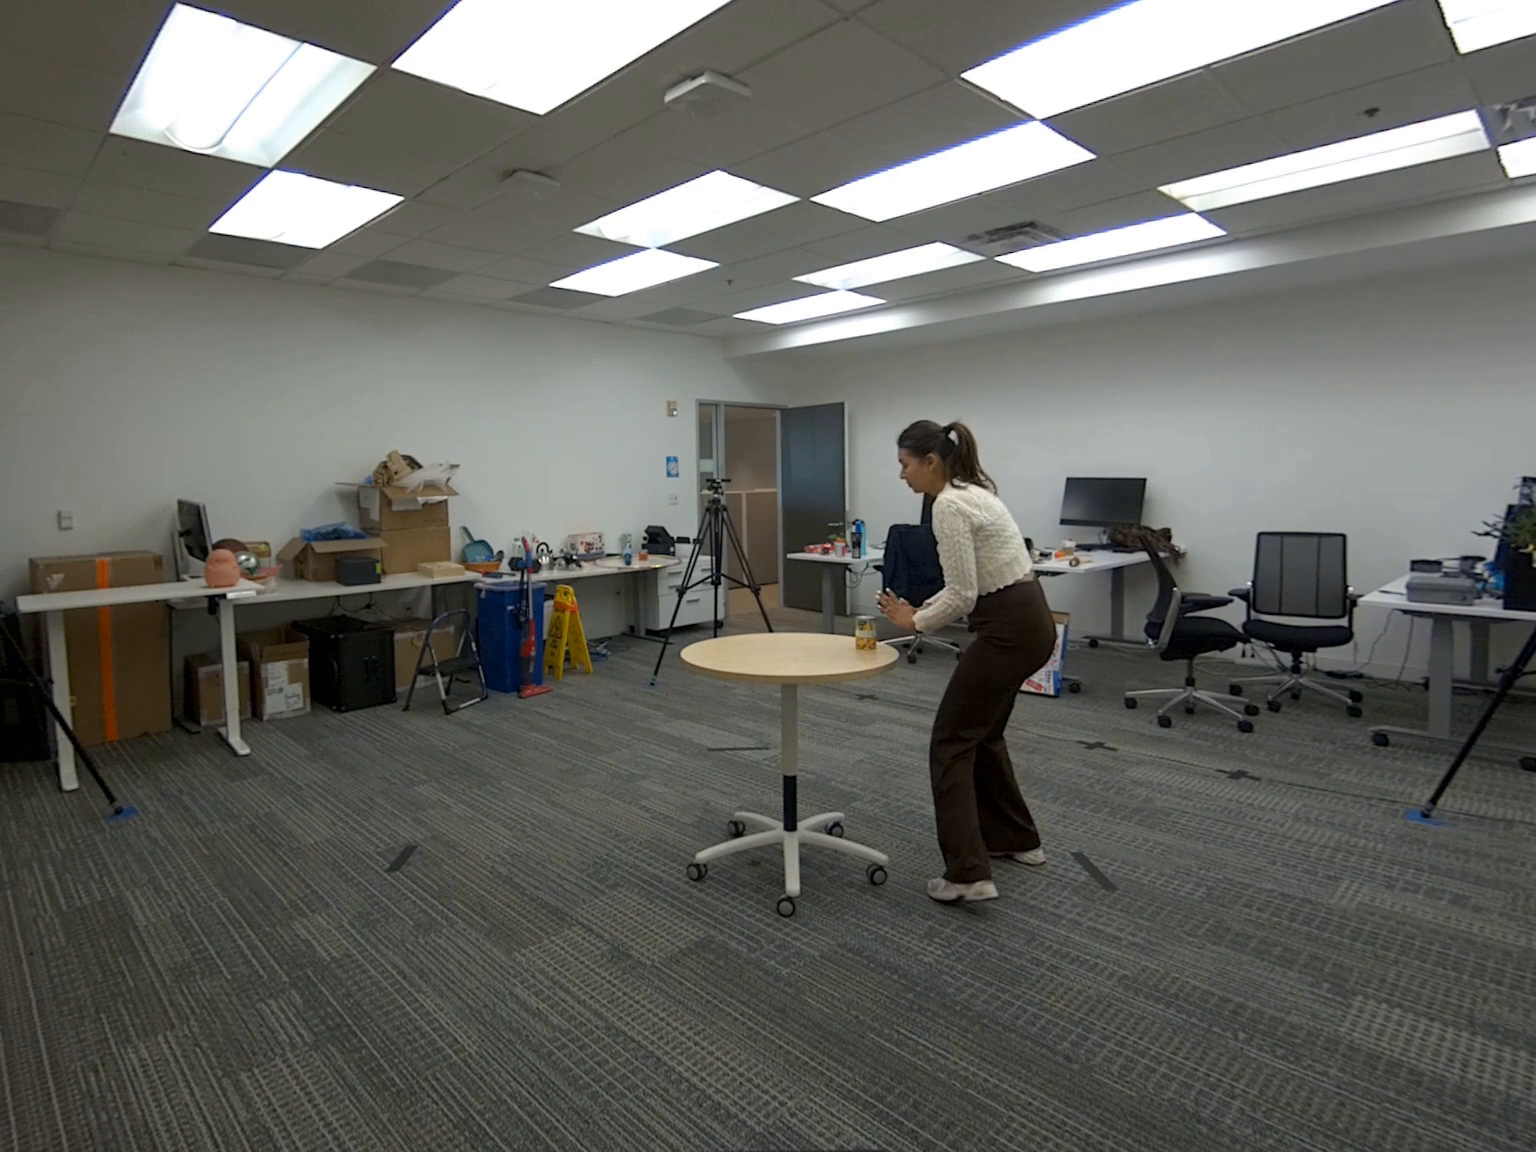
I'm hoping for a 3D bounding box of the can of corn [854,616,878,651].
[{"bbox_3d":[0.358,0.203,3.065,0.074,0.111,0.074,0,4,-2],"label":"can of corn"}]
